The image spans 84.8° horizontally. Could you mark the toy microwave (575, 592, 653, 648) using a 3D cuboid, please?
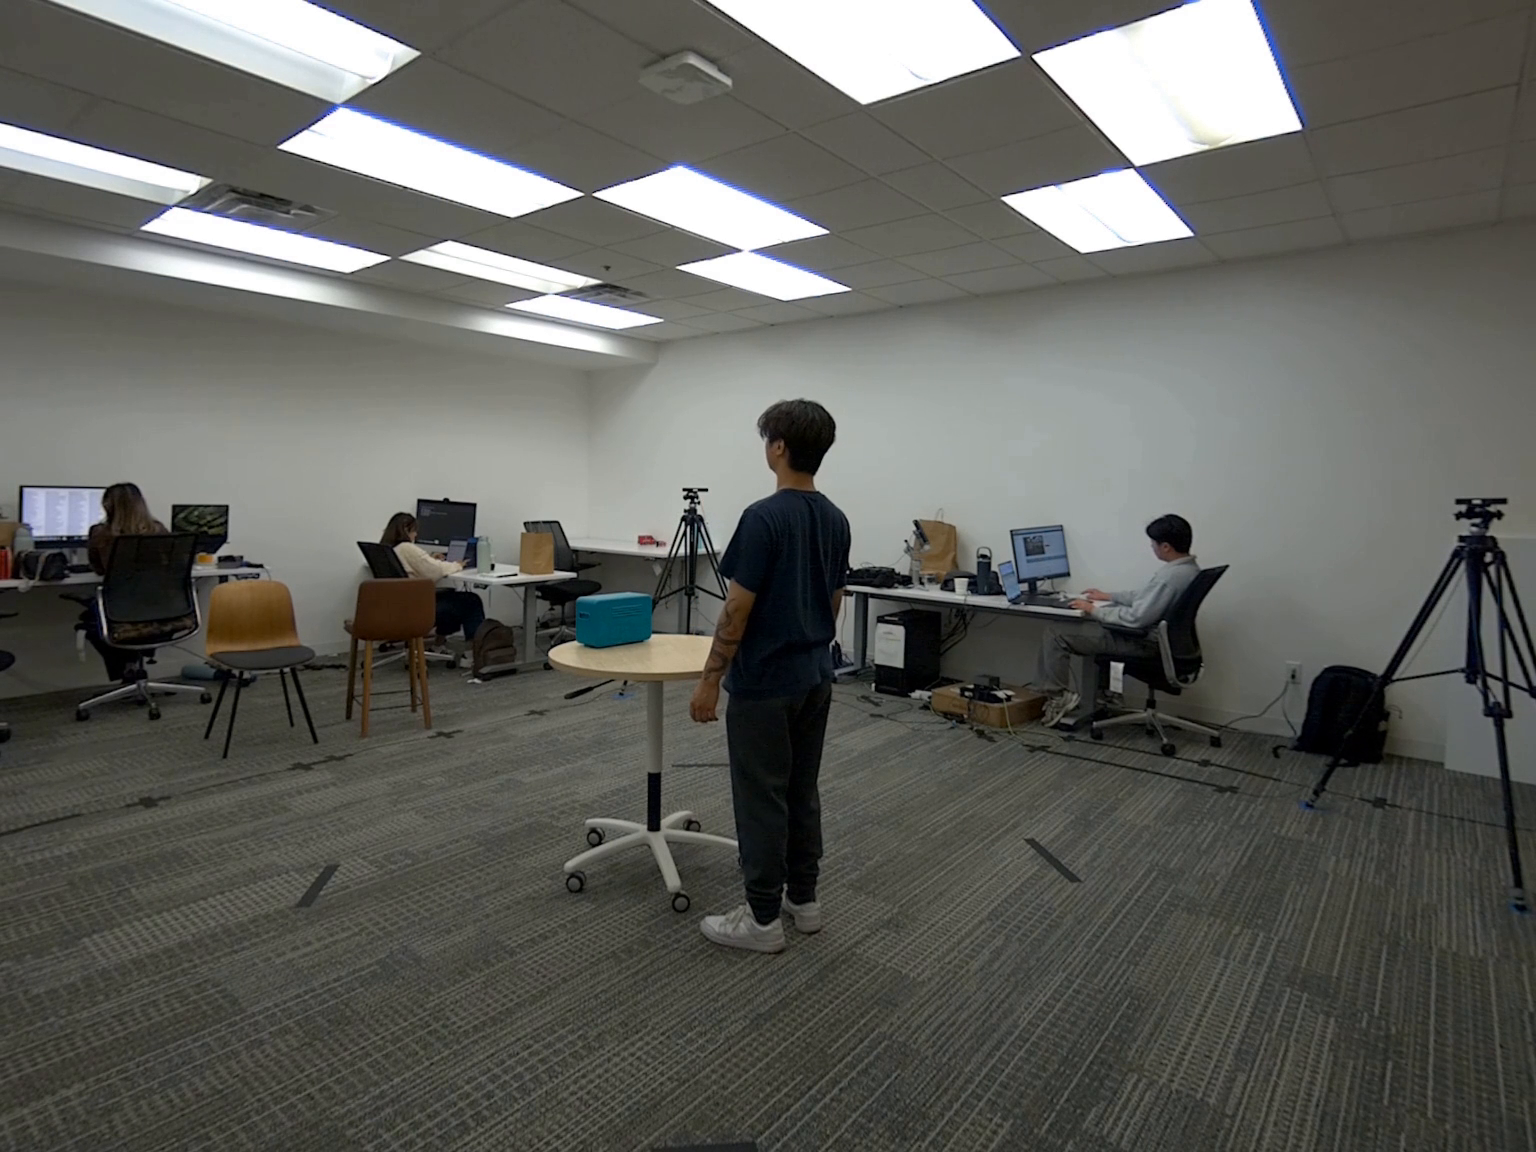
[{"bbox_3d":[-0.604,0.163,3.246,0.157,0.183,0.278,4,6,42],"label":"toy microwave"}]
